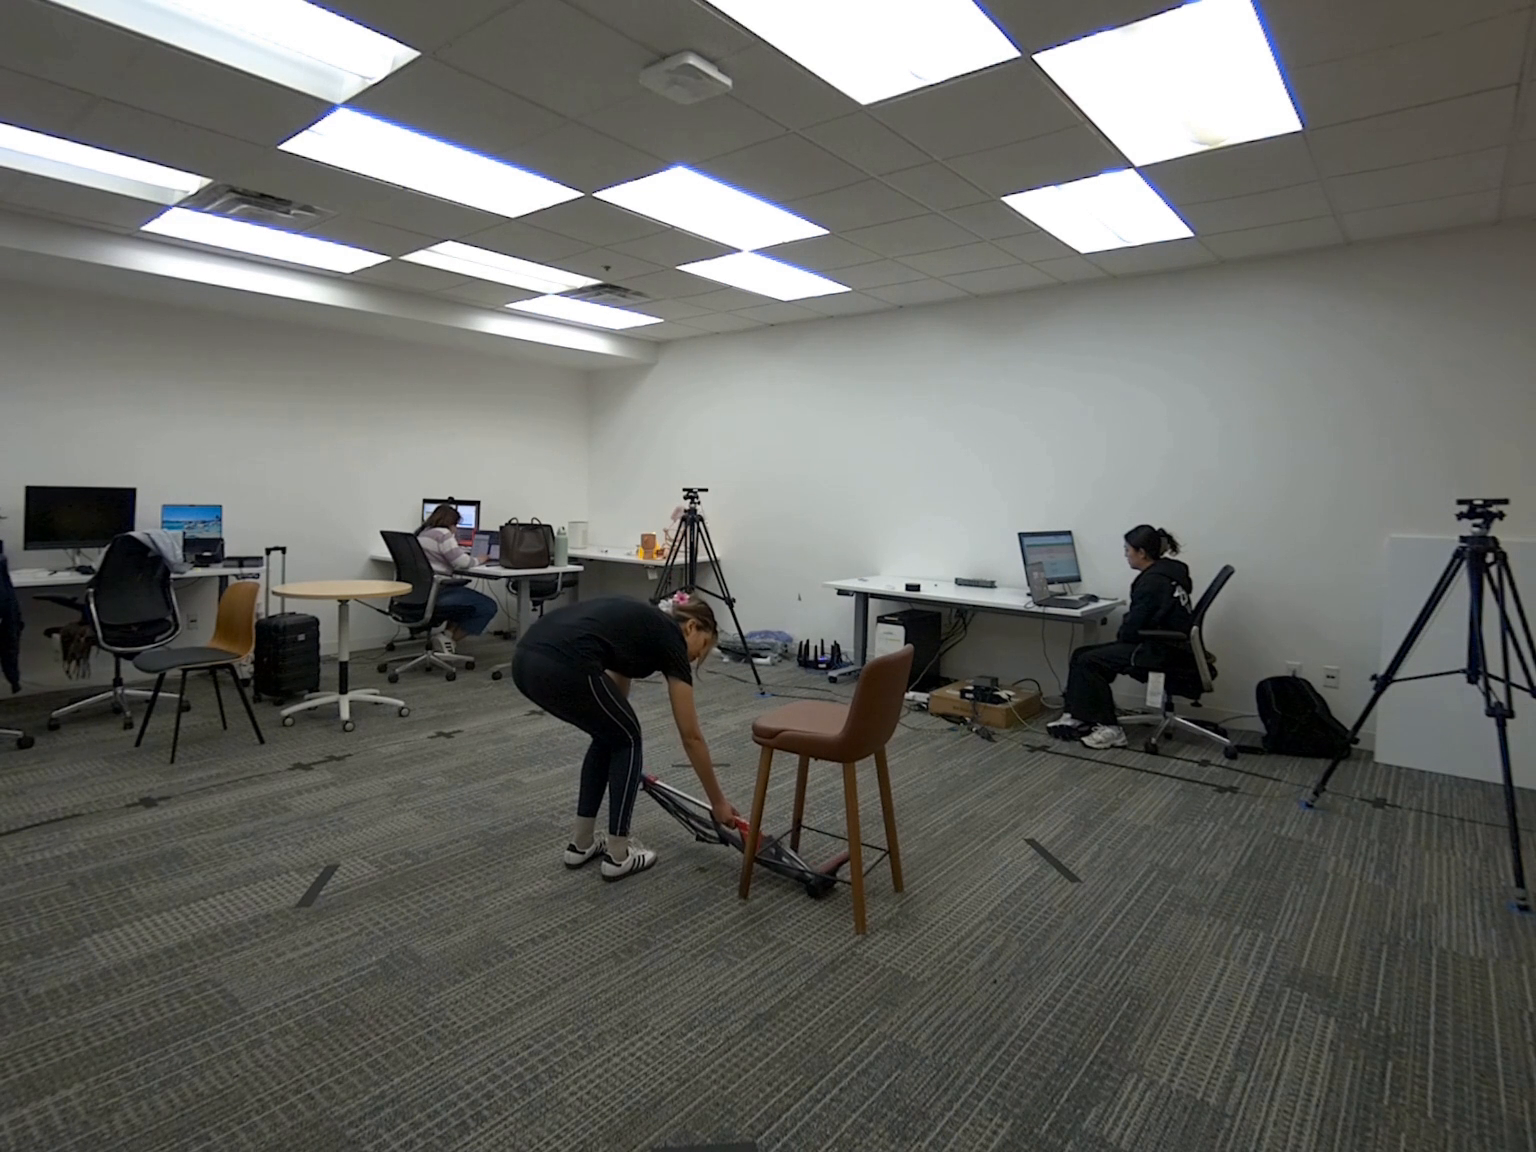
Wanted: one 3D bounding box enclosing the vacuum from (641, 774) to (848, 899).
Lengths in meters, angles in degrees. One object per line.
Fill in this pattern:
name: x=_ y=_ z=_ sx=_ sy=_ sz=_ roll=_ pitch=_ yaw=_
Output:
vacuum: x=-0.228 y=0.938 z=3.236 sx=1.086 sy=0.142 sz=0.247 roll=13 pitch=16 yaw=33
